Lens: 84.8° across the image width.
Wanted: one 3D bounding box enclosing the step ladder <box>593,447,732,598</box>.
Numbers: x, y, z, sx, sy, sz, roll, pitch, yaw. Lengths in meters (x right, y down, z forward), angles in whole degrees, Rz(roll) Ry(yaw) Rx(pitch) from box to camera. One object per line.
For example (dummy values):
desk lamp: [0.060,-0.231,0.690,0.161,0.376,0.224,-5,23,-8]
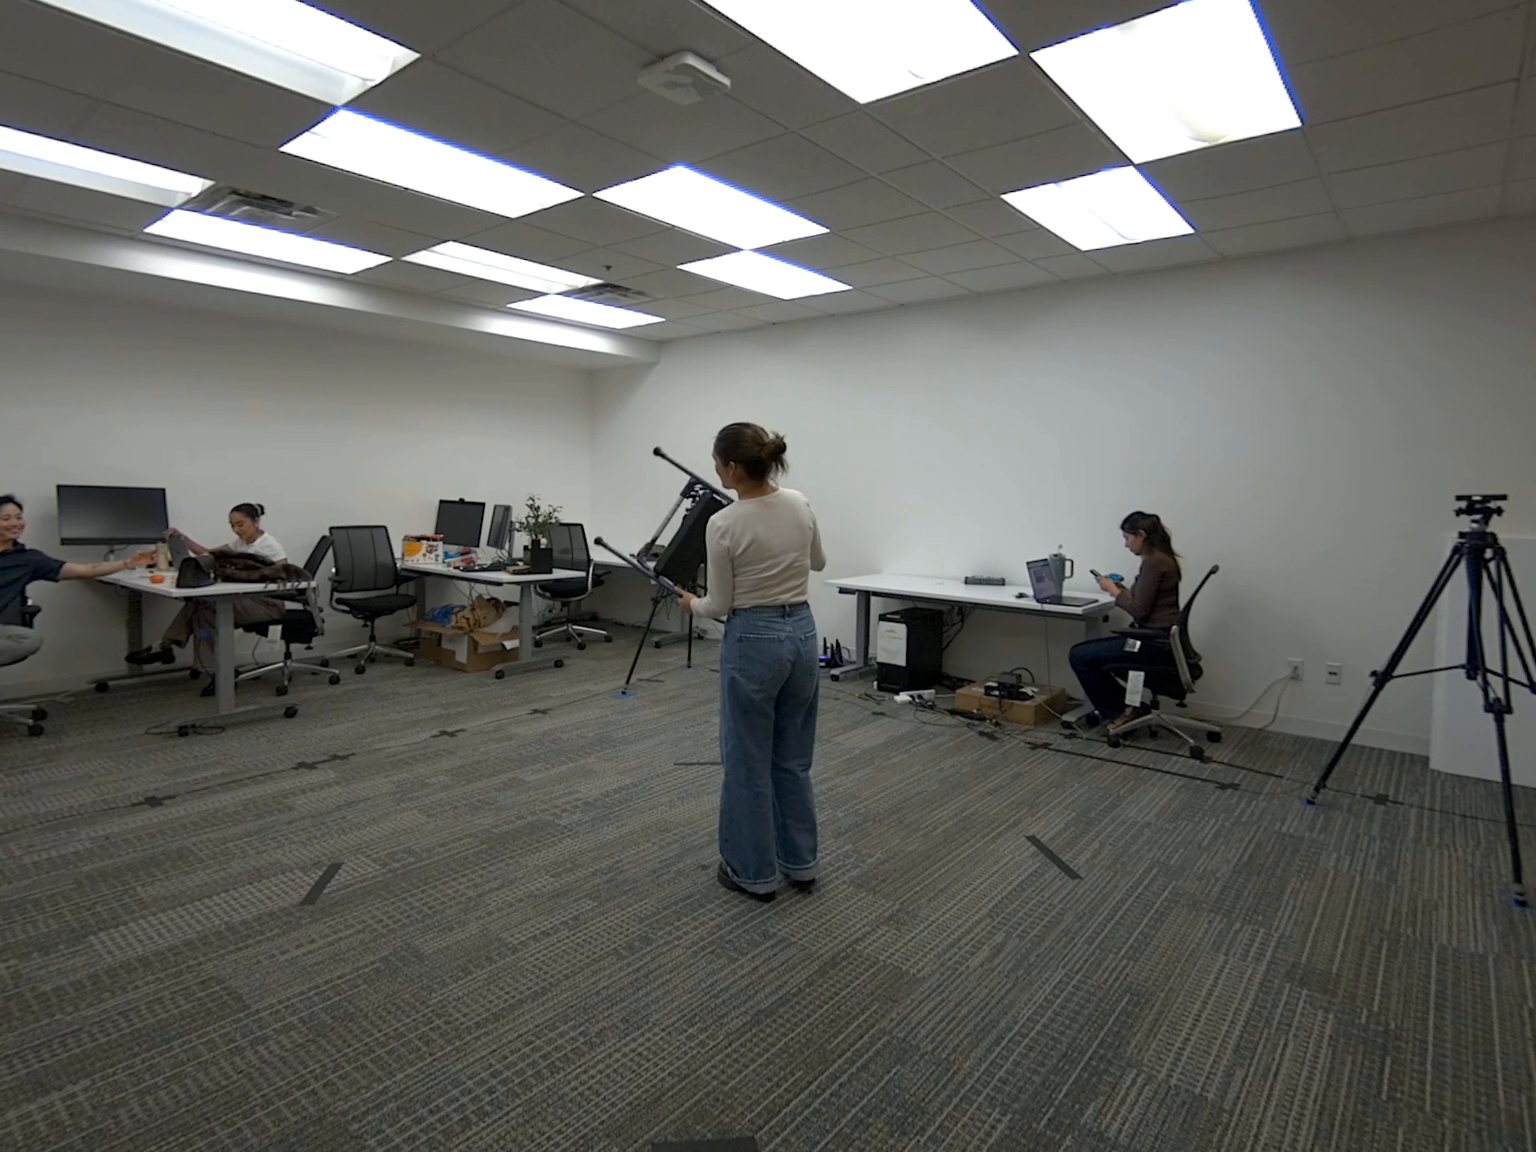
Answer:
step ladder: [-0.252,-0.109,3.143,0.627,0.430,0.337,34,2,27]
